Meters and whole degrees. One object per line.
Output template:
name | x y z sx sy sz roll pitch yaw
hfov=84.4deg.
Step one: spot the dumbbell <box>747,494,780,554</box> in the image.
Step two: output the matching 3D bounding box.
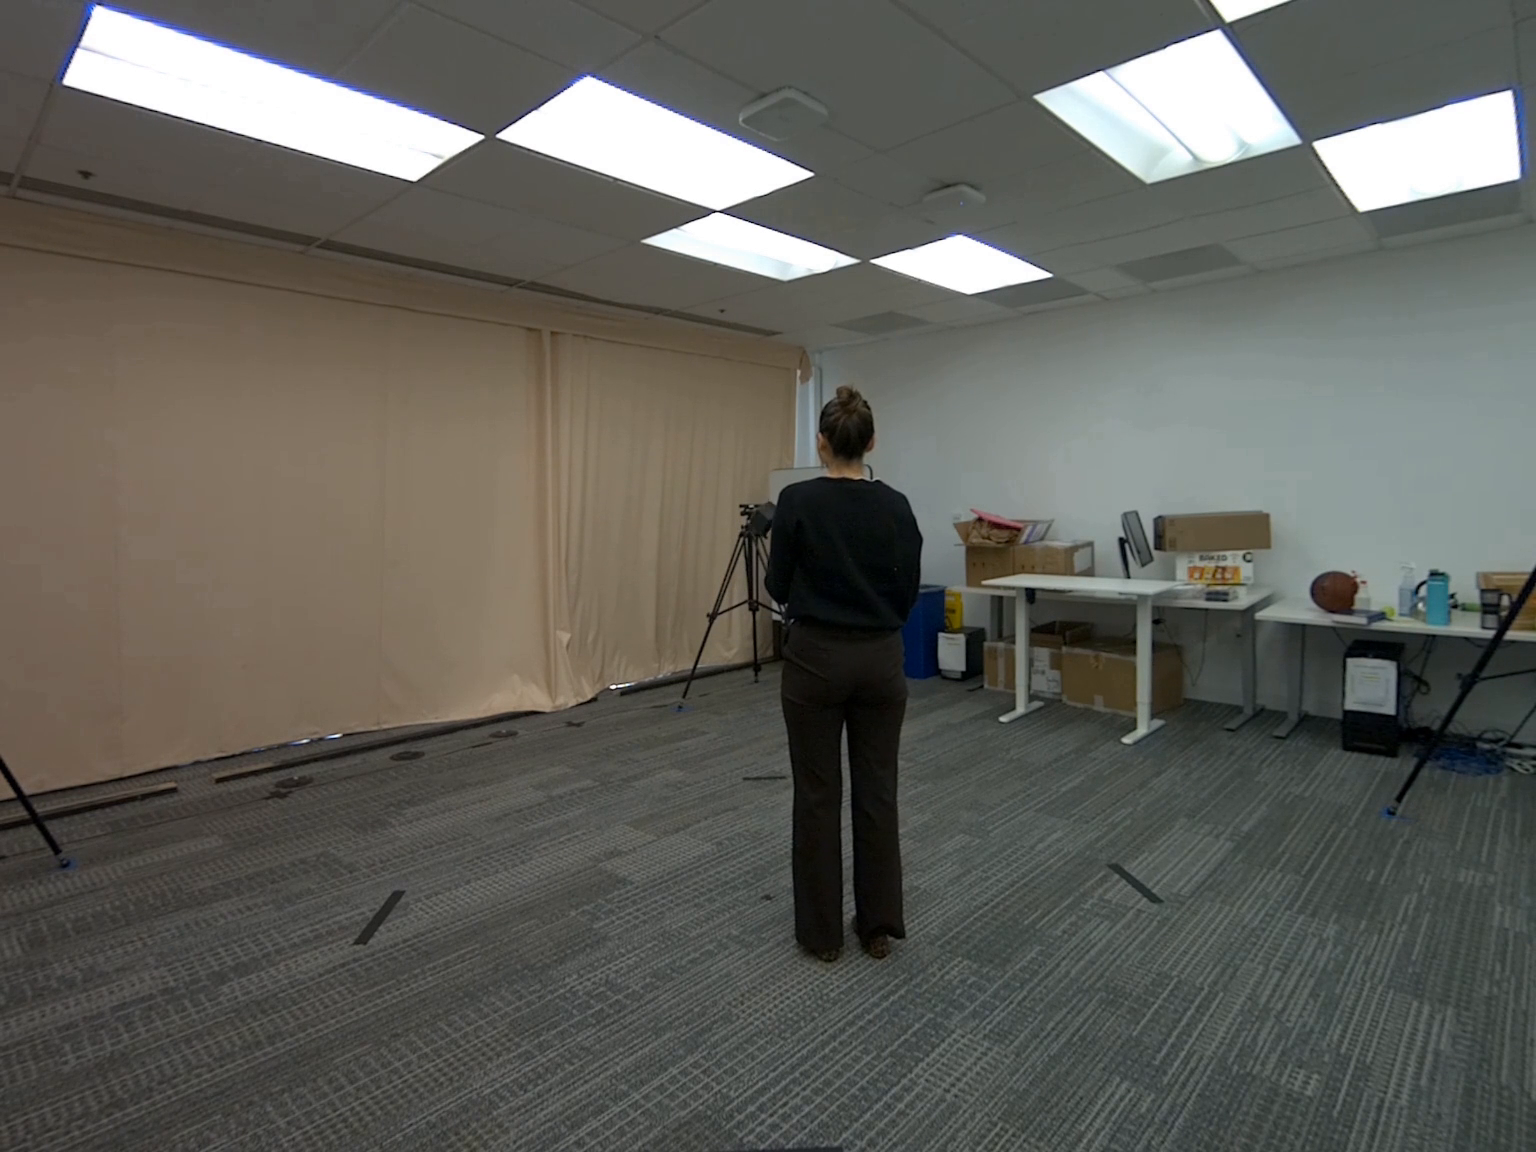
dumbbell | 0.080 -0.119 2.817 0.121 0.107 0.301 -33 63 -28
